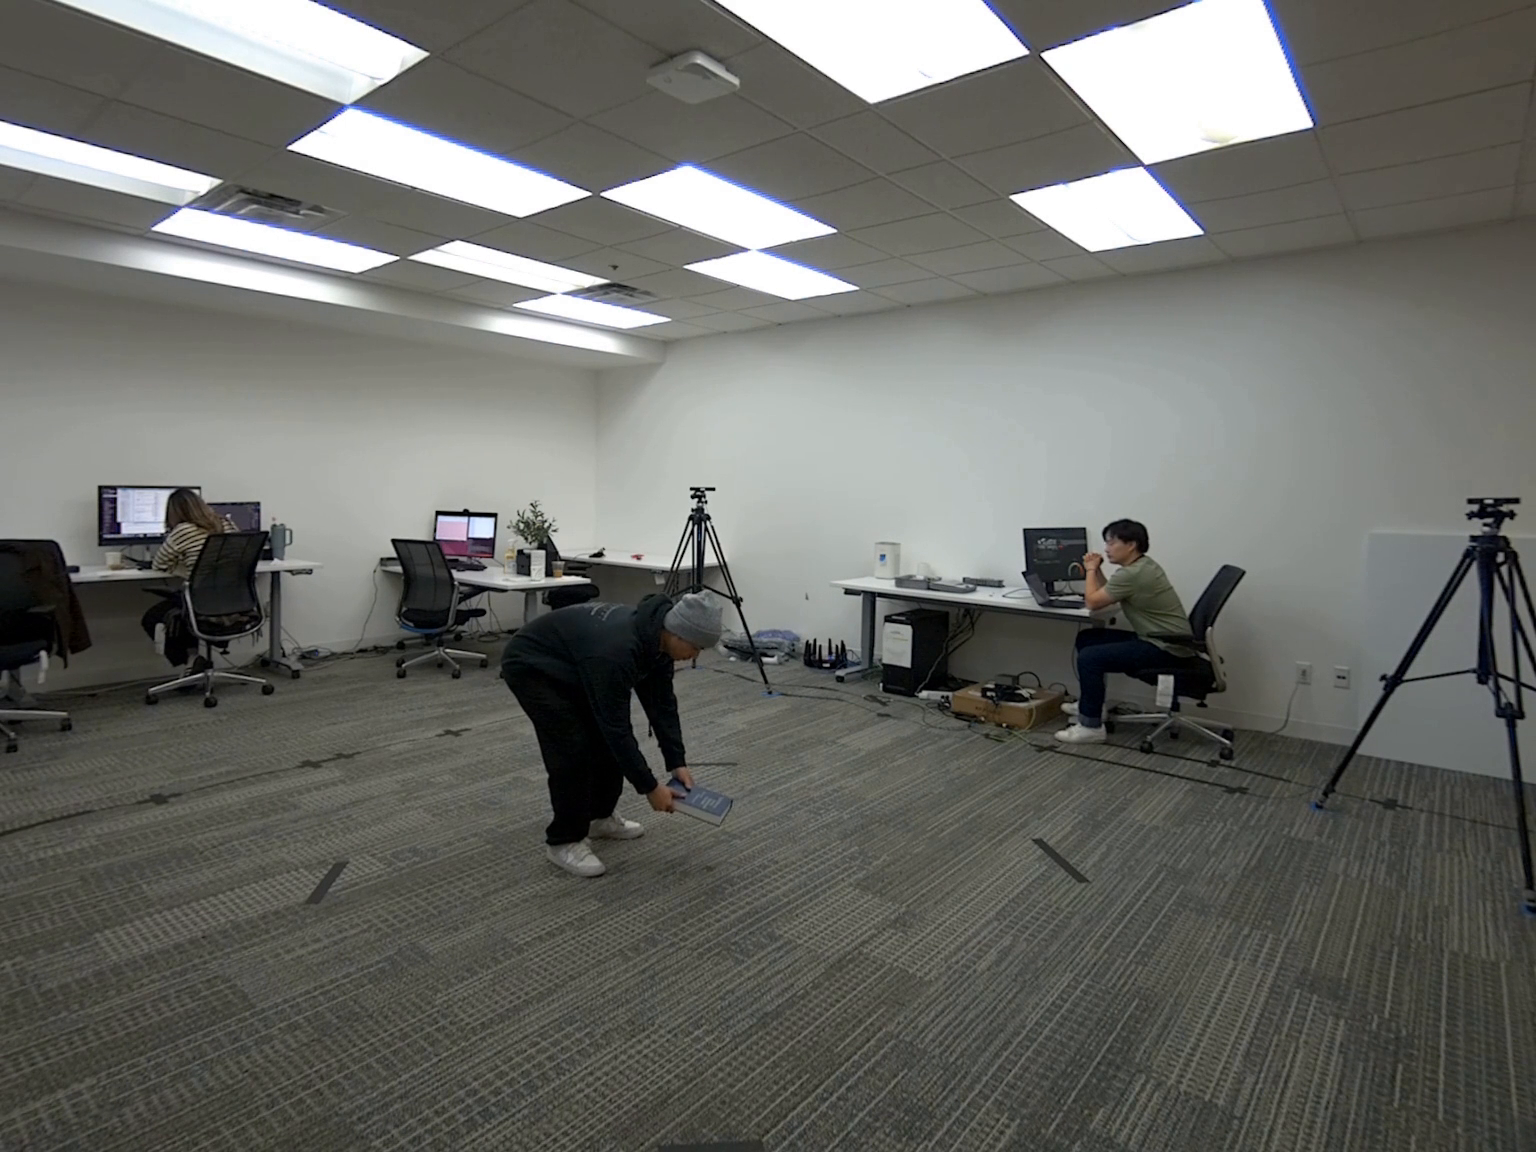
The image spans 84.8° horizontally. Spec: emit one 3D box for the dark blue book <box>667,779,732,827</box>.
[{"bbox_3d":[-0.275,0.829,3.104,0.249,0.045,0.162,13,10,12],"label":"dark blue book"}]
